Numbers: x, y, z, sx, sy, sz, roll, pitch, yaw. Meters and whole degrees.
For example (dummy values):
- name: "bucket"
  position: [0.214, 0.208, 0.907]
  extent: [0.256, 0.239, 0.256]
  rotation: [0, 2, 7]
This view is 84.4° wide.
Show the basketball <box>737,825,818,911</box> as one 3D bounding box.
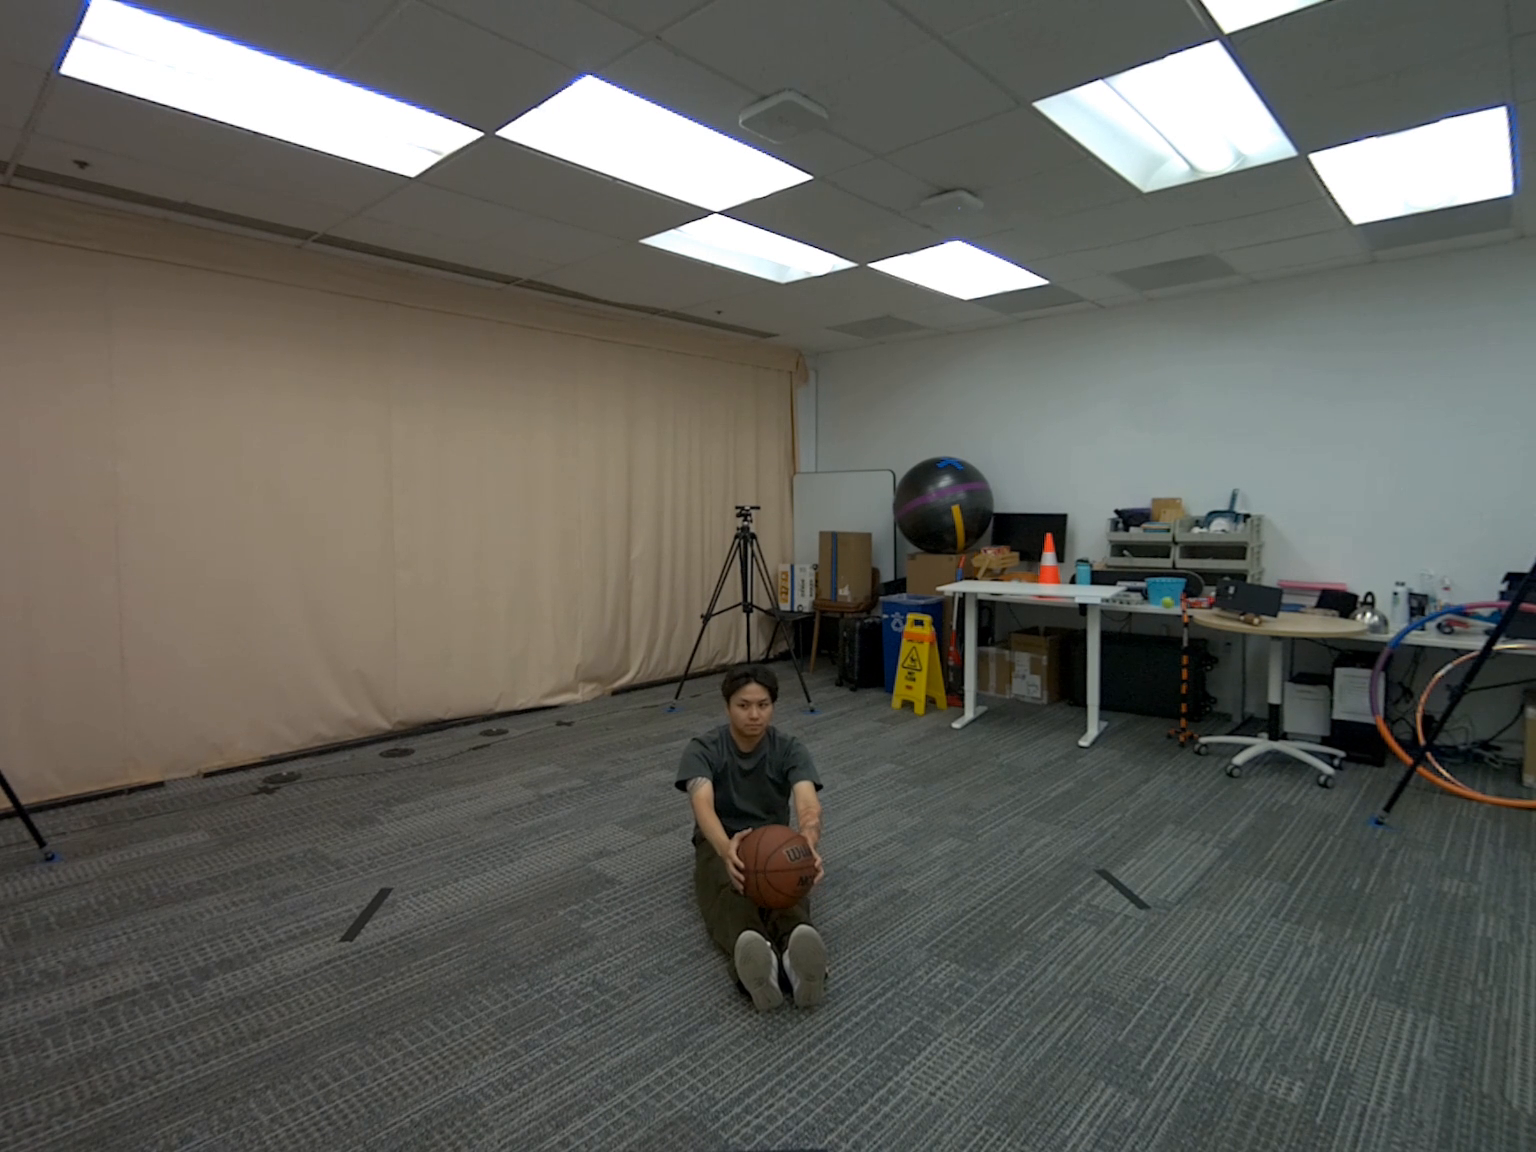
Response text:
- name: "basketball"
  position: [0.028, 0.862, 2.518]
  extent: [0.236, 0.235, 0.237]
  rotation: [0, 4, -2]
